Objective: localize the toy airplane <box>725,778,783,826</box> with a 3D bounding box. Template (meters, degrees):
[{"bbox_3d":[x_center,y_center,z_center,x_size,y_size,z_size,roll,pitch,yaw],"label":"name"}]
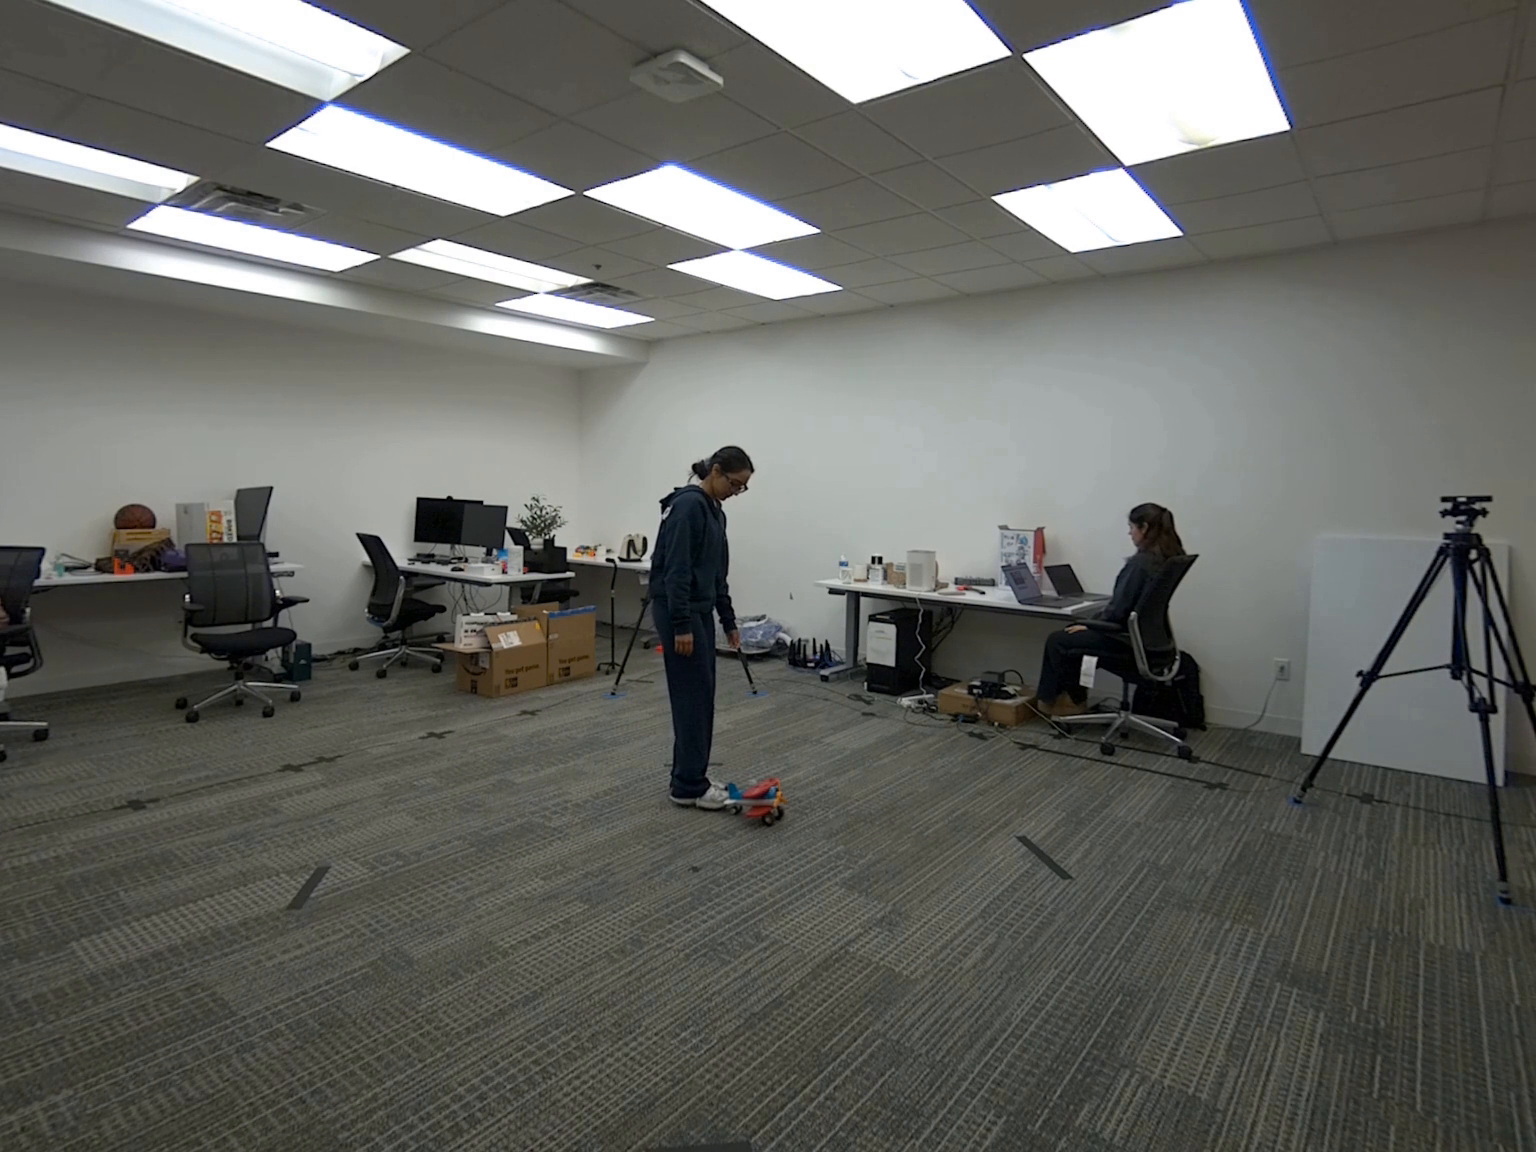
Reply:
[{"bbox_3d":[-0.071,0.948,3.582,0.259,0.156,0.252,2,4,0],"label":"toy airplane"}]
